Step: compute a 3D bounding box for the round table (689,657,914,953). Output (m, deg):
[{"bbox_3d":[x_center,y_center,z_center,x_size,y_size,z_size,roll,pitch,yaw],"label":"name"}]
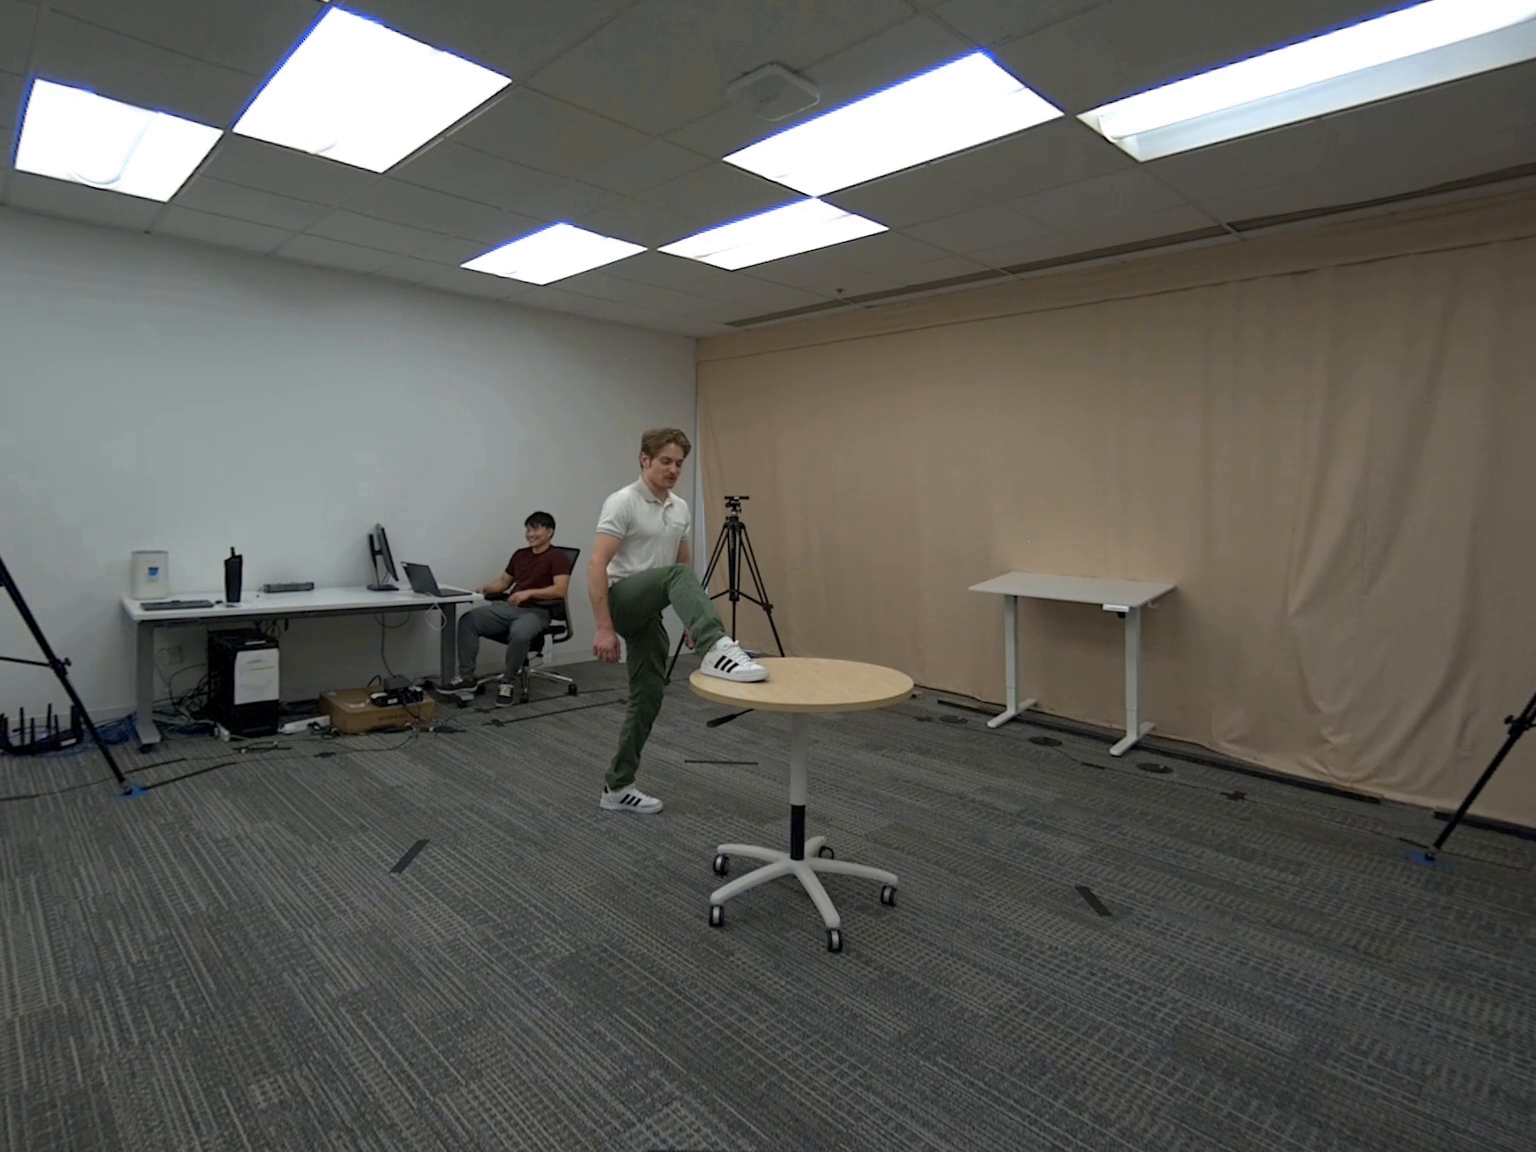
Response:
[{"bbox_3d":[0.104,0.743,2.915,0.763,0.792,0.766,1,4,-1],"label":"round table"}]
